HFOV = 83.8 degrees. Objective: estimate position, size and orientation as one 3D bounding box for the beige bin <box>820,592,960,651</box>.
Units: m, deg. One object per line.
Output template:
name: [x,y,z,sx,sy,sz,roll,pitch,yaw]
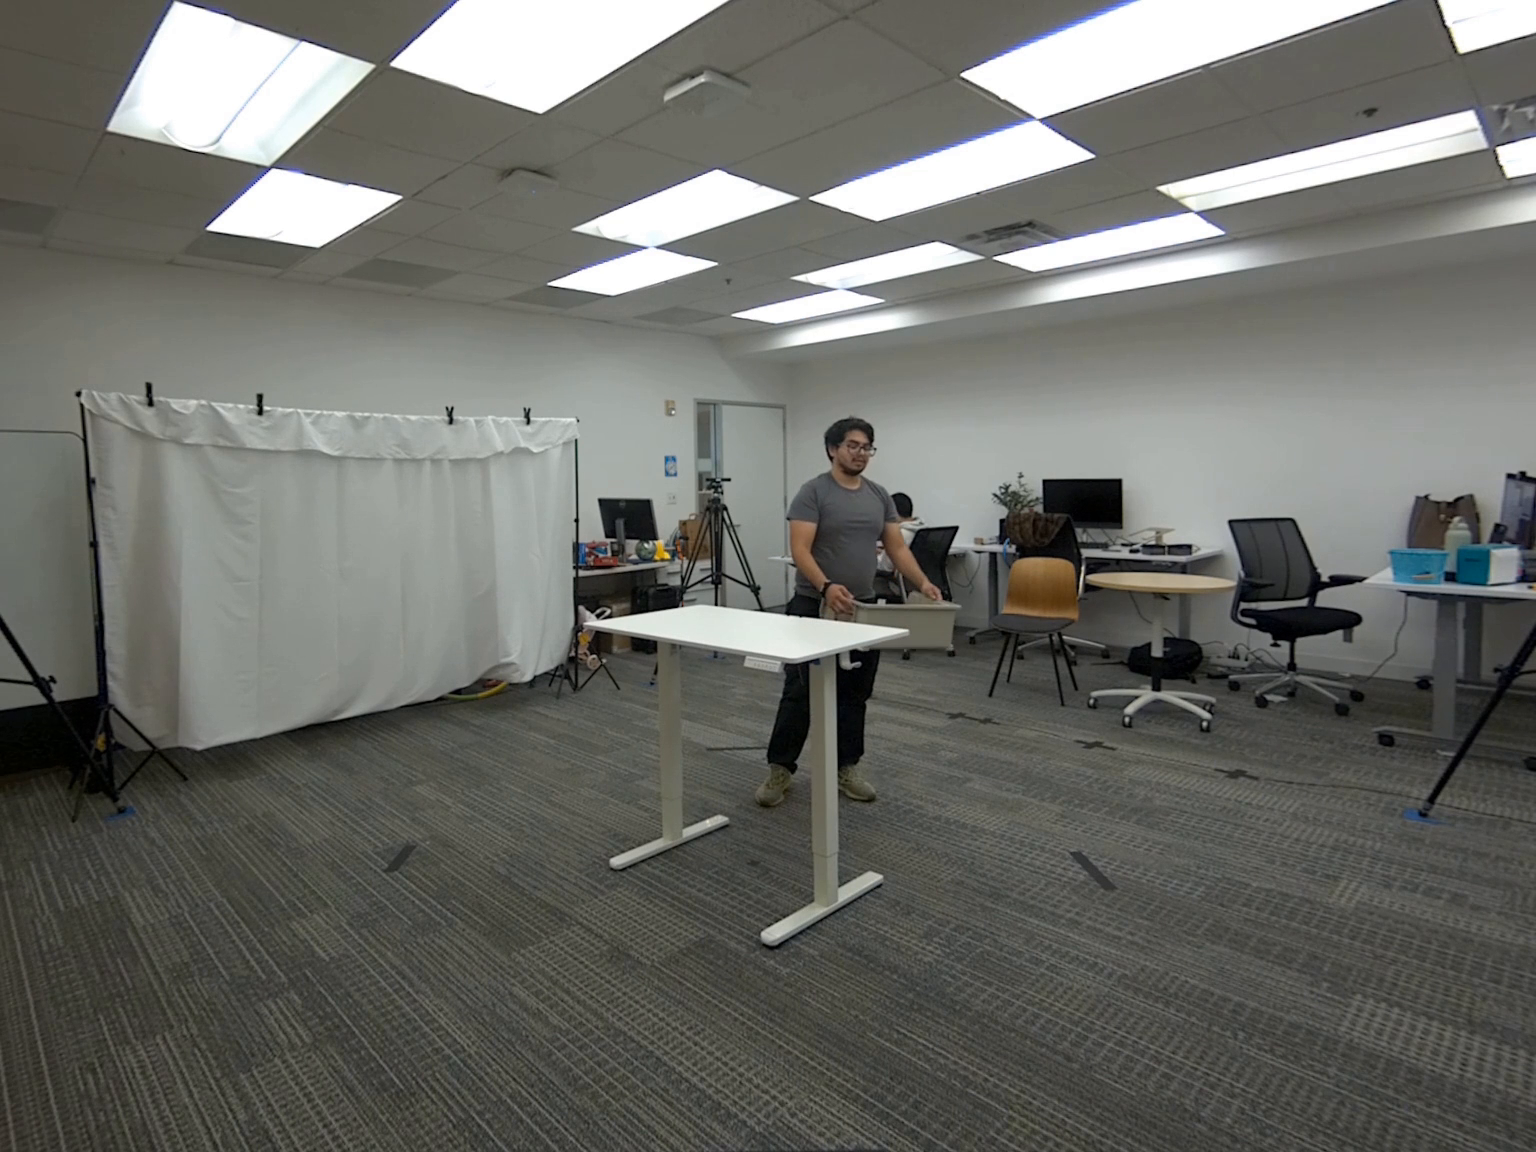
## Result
beige bin: [0.484,0.173,3.444,0.415,0.188,0.386,1,9,-18]
